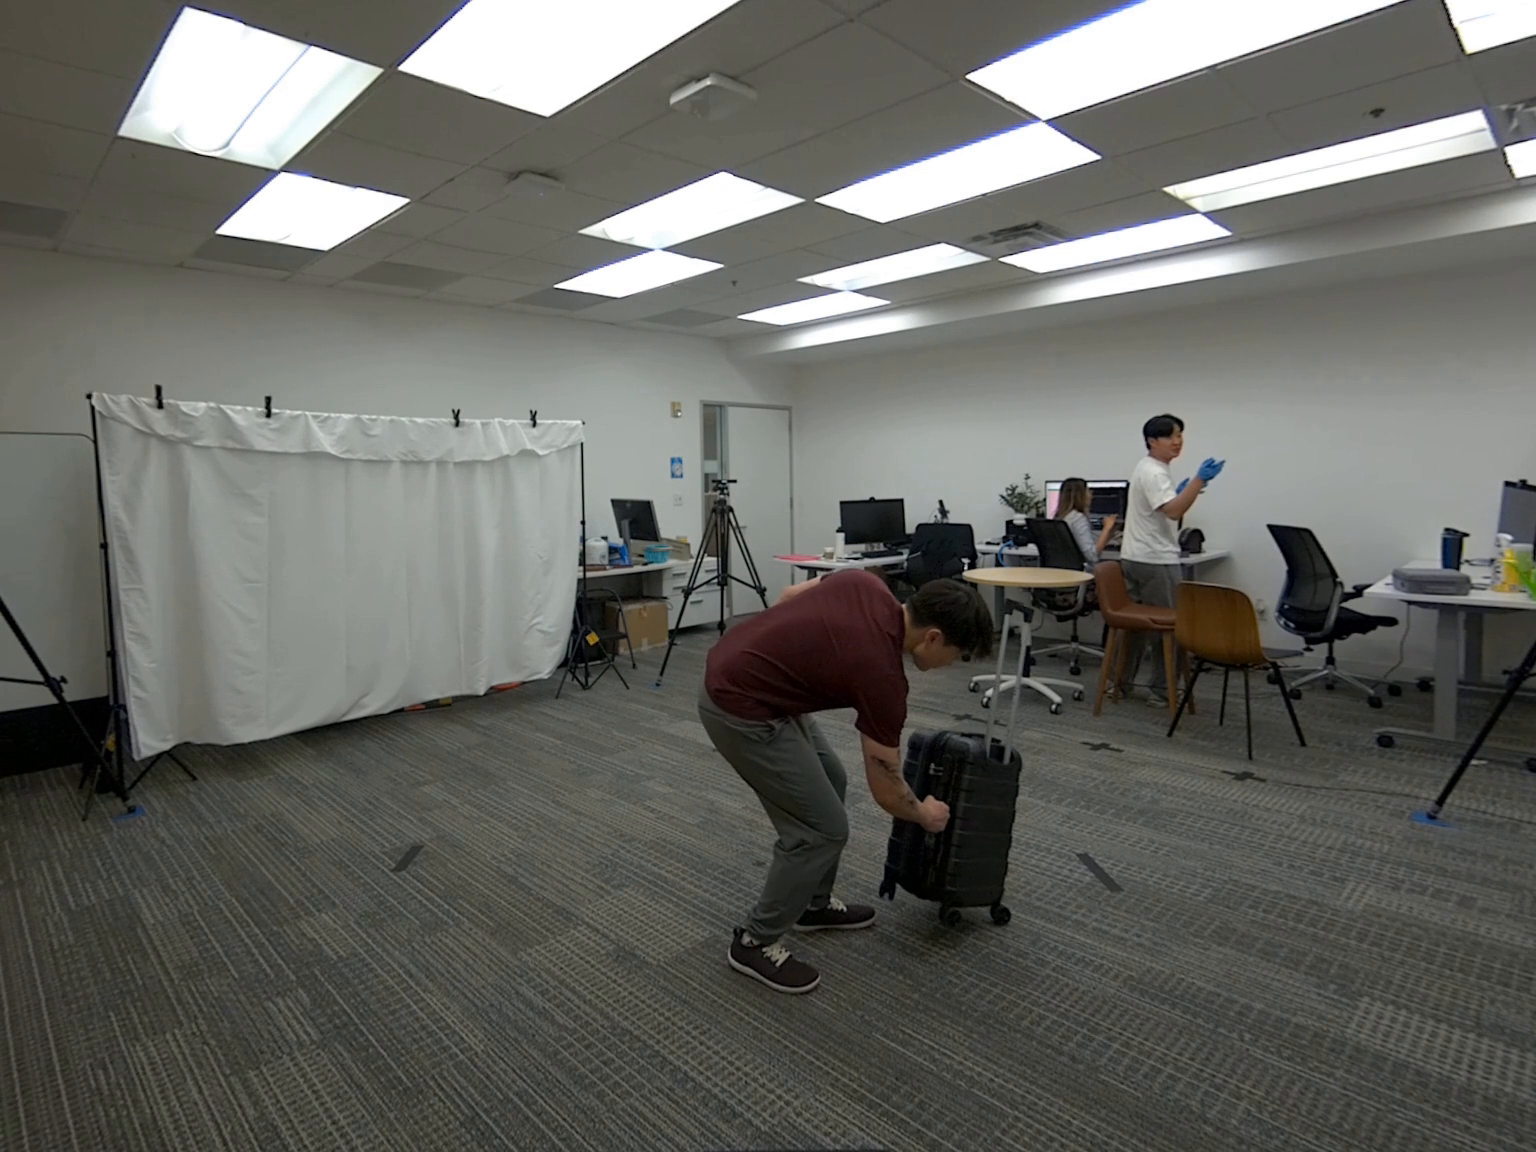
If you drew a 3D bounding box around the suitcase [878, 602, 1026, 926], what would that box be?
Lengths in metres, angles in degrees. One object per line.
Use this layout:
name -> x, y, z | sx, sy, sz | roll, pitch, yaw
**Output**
suitcase -> 0.634, 0.568, 2.724 | 0.370, 0.986, 0.264 | 18, -13, -41
